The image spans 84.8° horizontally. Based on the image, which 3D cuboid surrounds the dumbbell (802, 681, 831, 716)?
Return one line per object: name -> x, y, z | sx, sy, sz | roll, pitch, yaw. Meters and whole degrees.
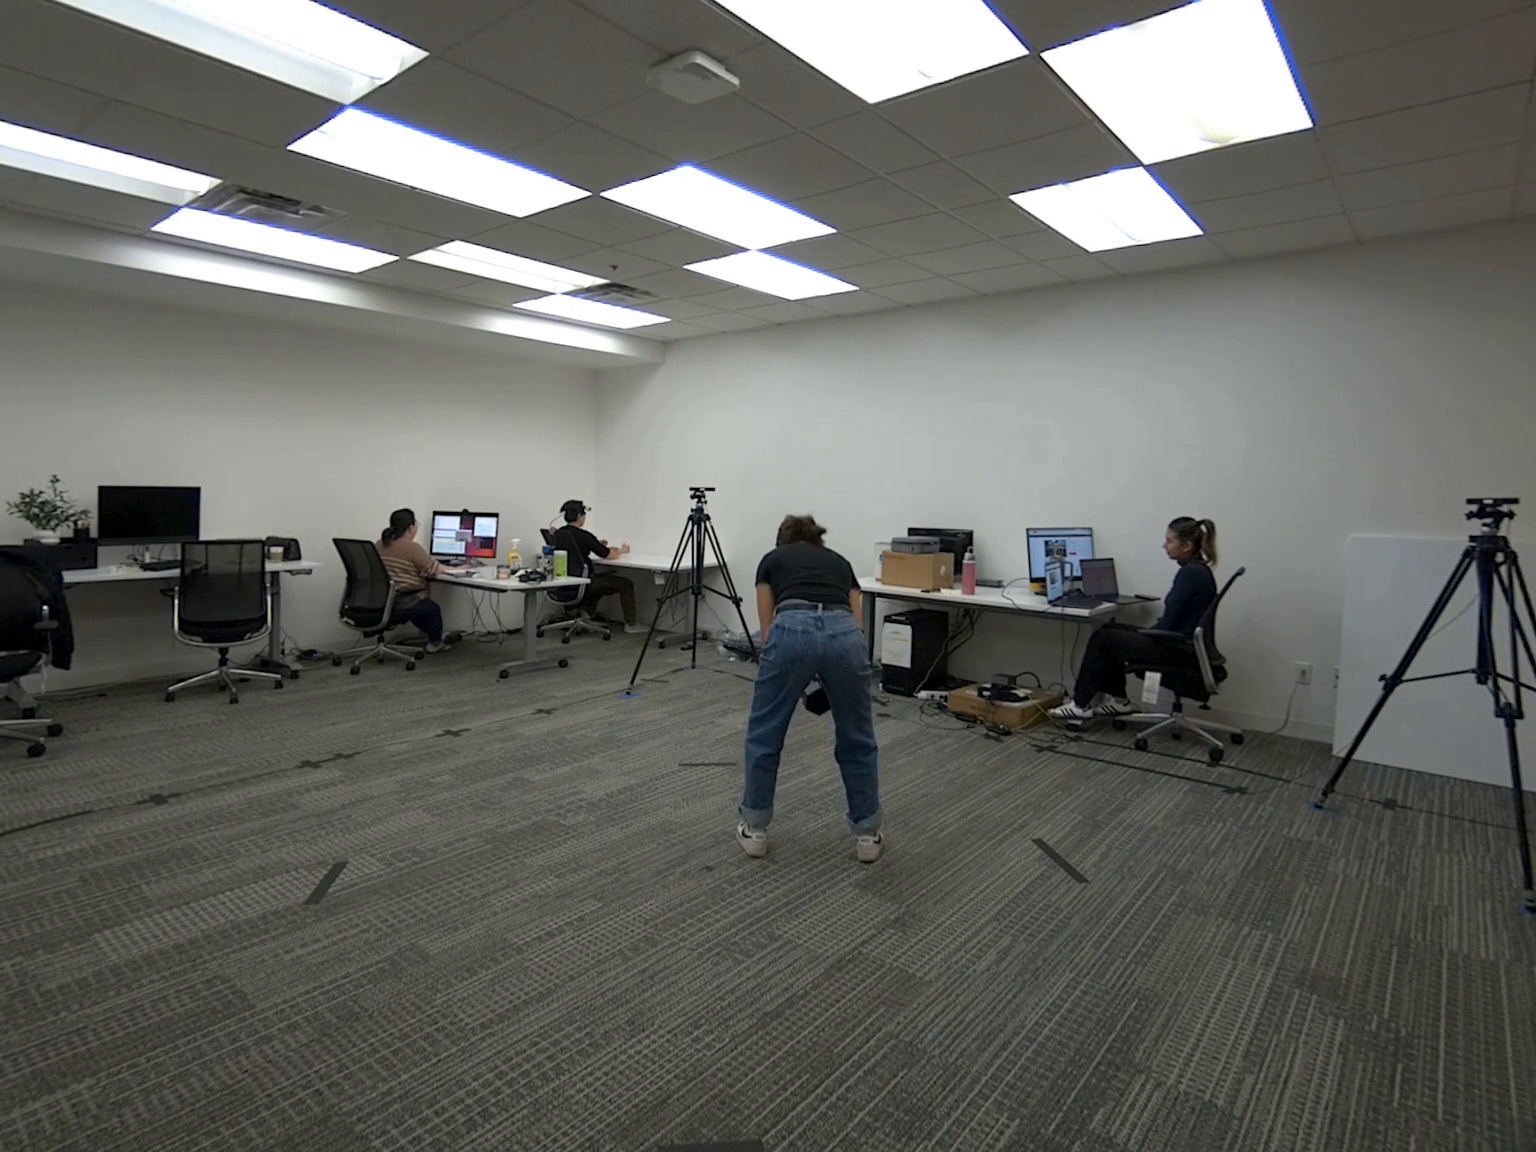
dumbbell -> 0.171, 0.458, 3.455 | 0.107, 0.121, 0.300 | -1, 13, -11
